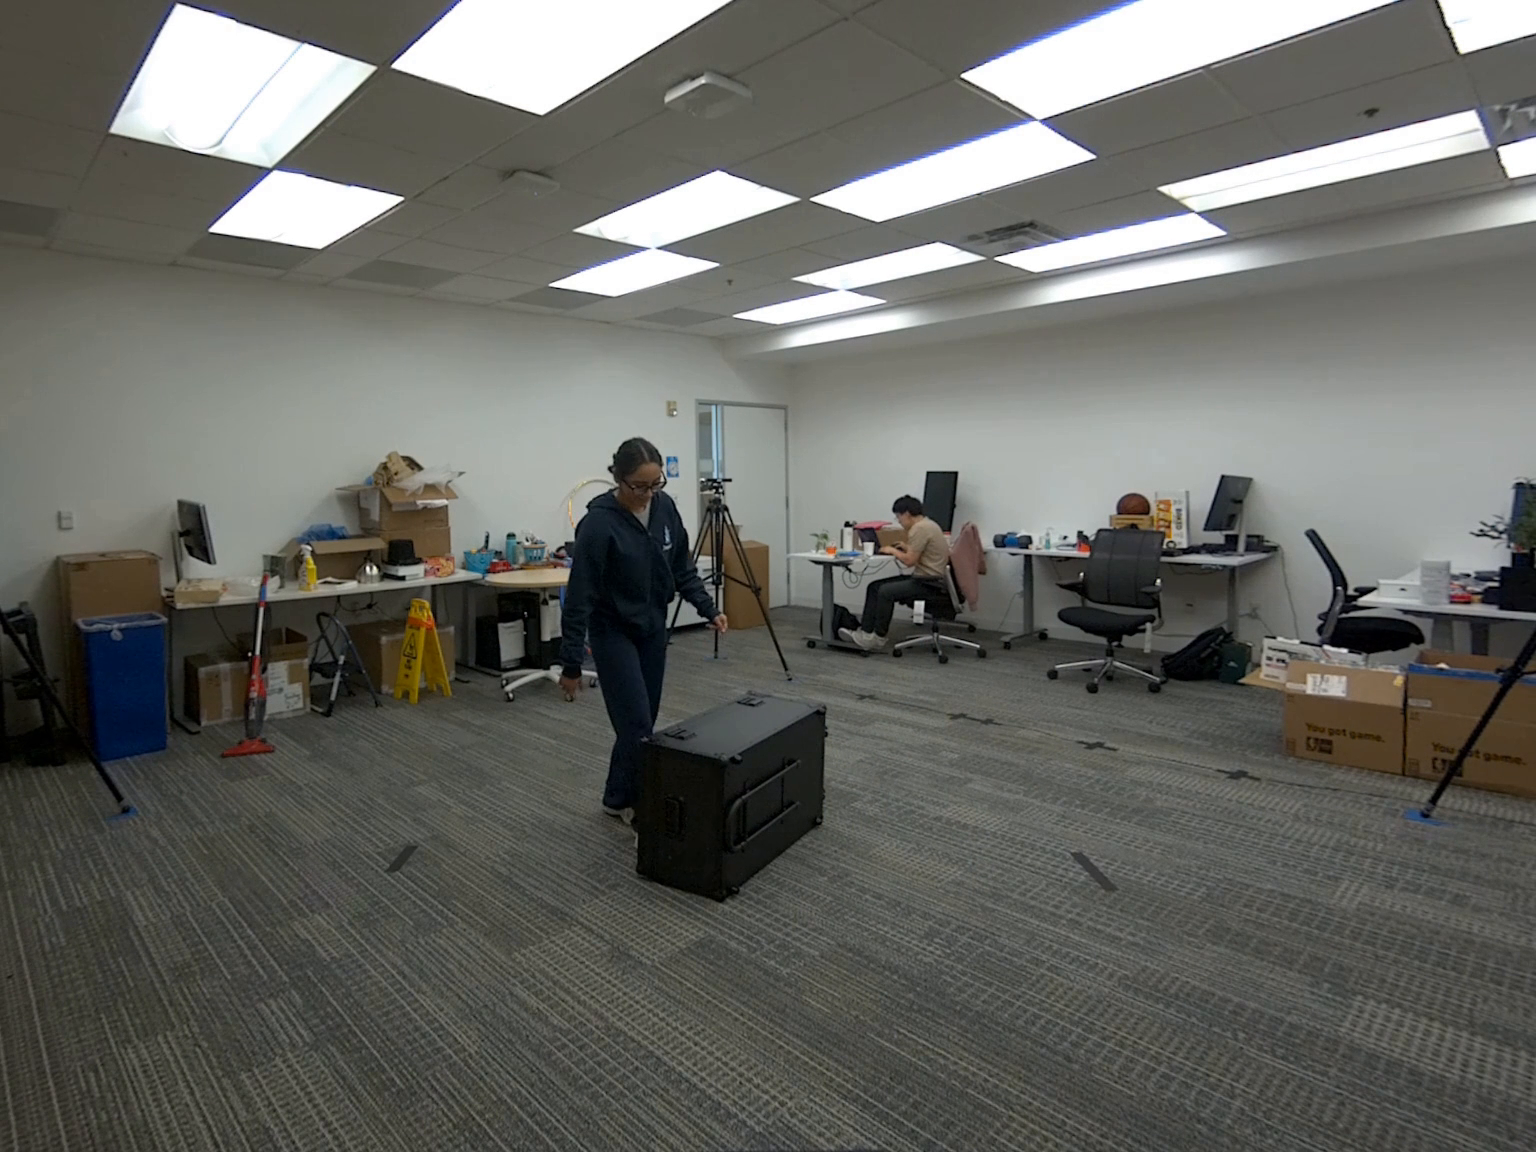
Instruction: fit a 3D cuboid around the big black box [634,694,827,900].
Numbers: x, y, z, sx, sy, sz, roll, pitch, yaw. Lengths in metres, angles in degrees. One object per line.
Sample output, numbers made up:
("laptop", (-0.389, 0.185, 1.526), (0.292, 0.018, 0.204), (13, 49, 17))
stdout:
("big black box", (-0.086, 0.774, 3.233), (0.407, 0.518, 0.843), (5, 8, 29))
